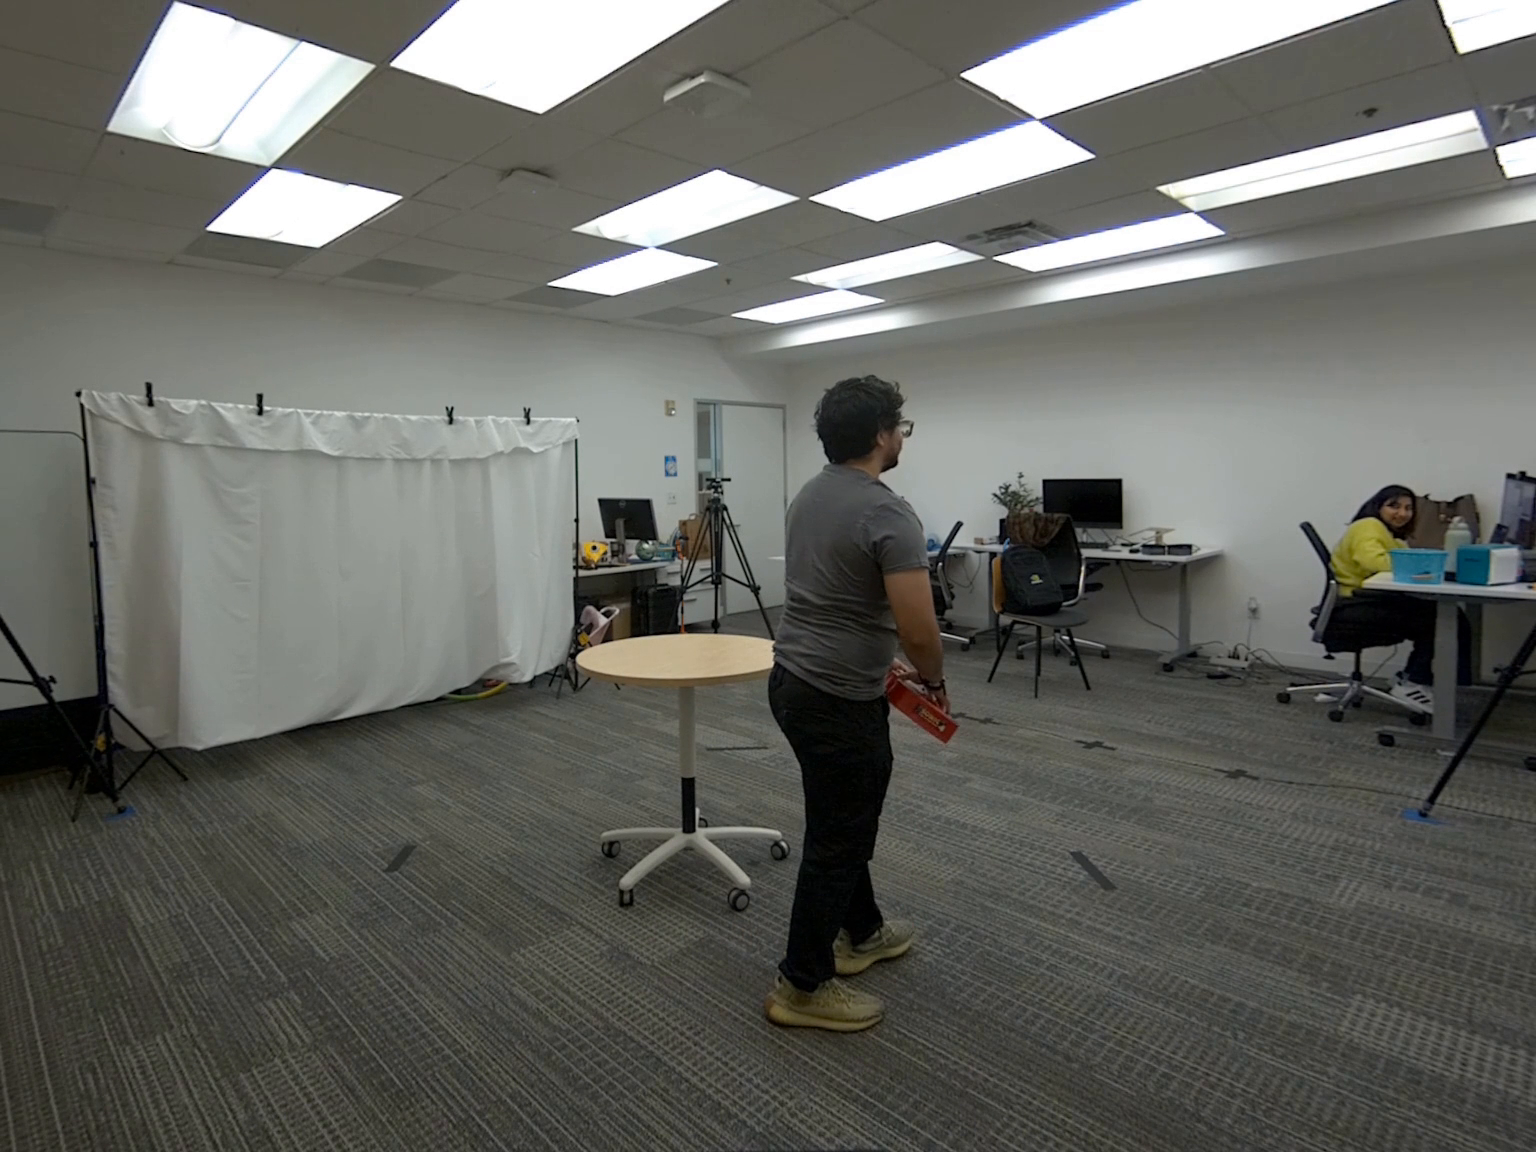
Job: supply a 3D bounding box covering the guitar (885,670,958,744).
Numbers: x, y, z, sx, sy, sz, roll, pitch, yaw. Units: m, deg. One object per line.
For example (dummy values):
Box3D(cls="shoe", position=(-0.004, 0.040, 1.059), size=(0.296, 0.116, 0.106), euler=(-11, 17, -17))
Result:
Box3D(cls="guitar", position=(0.409, 0.322, 2.381), size=(0.194, 0.071, 0.496), euler=(38, 2, 1))
